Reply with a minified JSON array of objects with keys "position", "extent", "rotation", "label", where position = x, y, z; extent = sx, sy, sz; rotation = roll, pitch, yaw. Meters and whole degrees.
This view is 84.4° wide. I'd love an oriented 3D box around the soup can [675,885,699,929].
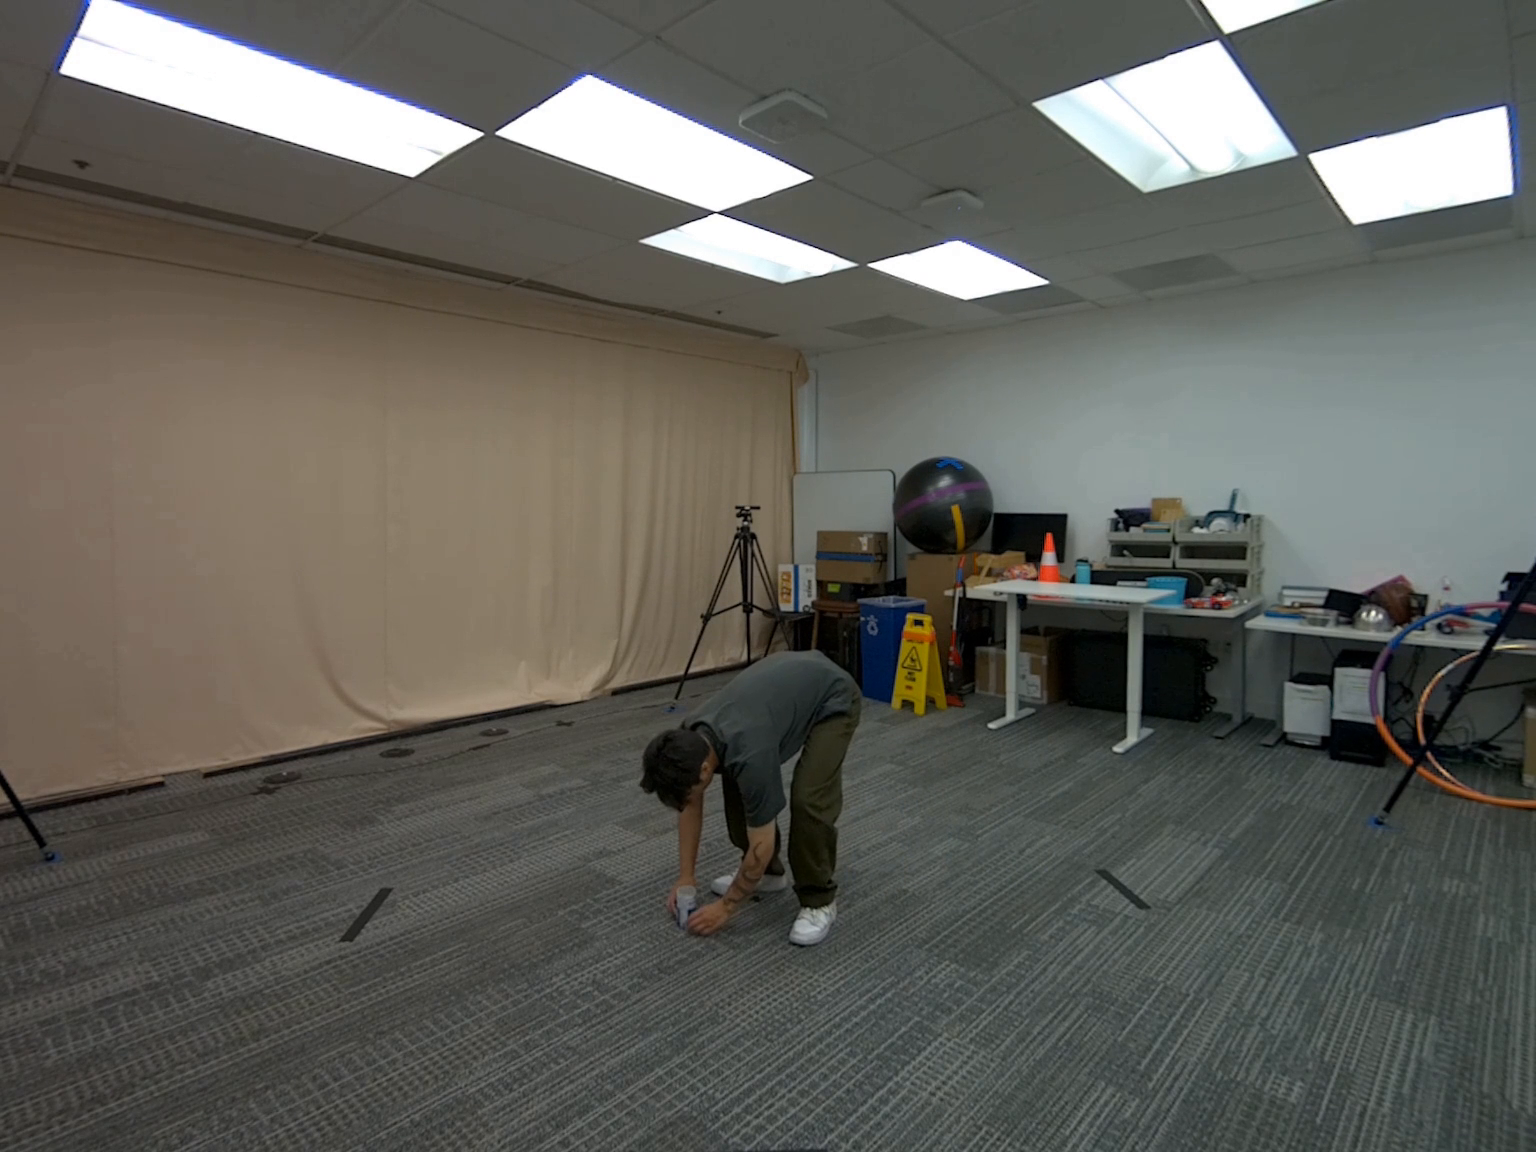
[{"position":[-0.269,1.098,2.803],"extent":[0.067,0.121,0.067],"rotation":[-2,4,-2],"label":"soup can"}]
